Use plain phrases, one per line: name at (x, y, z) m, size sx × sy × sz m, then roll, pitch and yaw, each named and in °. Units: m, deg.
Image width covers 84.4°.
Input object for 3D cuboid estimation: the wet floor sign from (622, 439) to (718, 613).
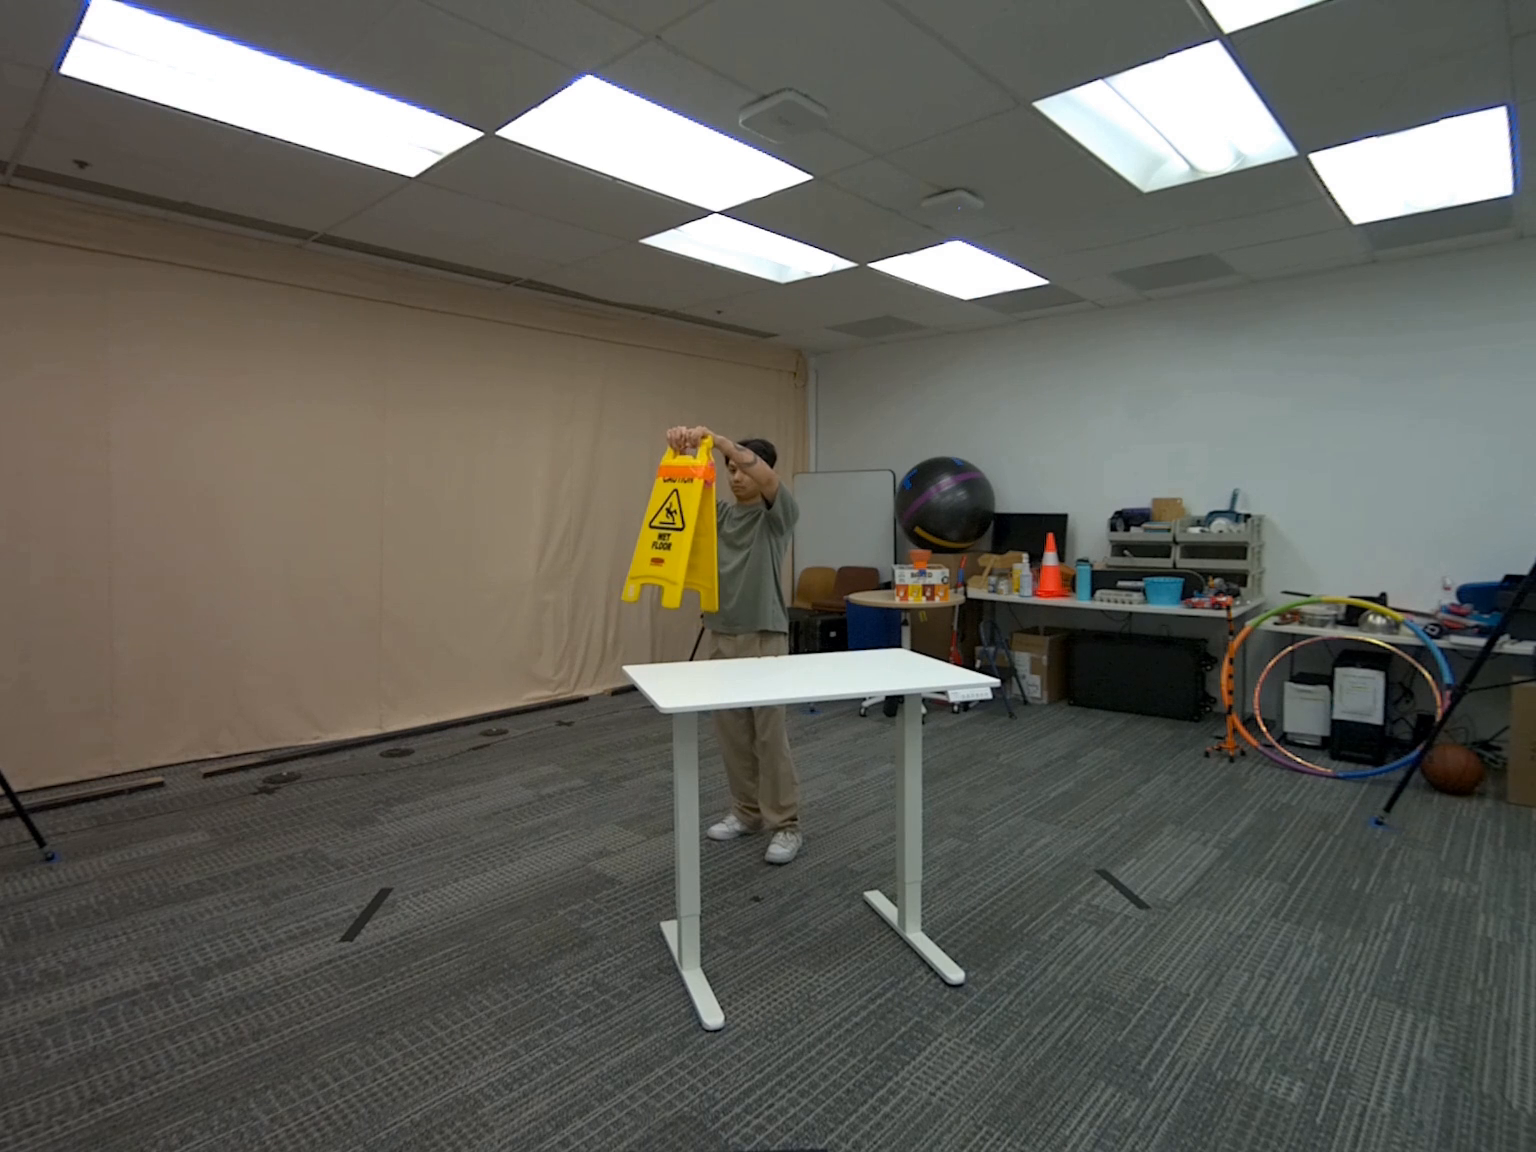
wet floor sign at (-0.325, -0.207, 3.161) m, size 0.291 × 0.646 × 0.280 m, roll 5°, pitch -1°, yaw 36°
